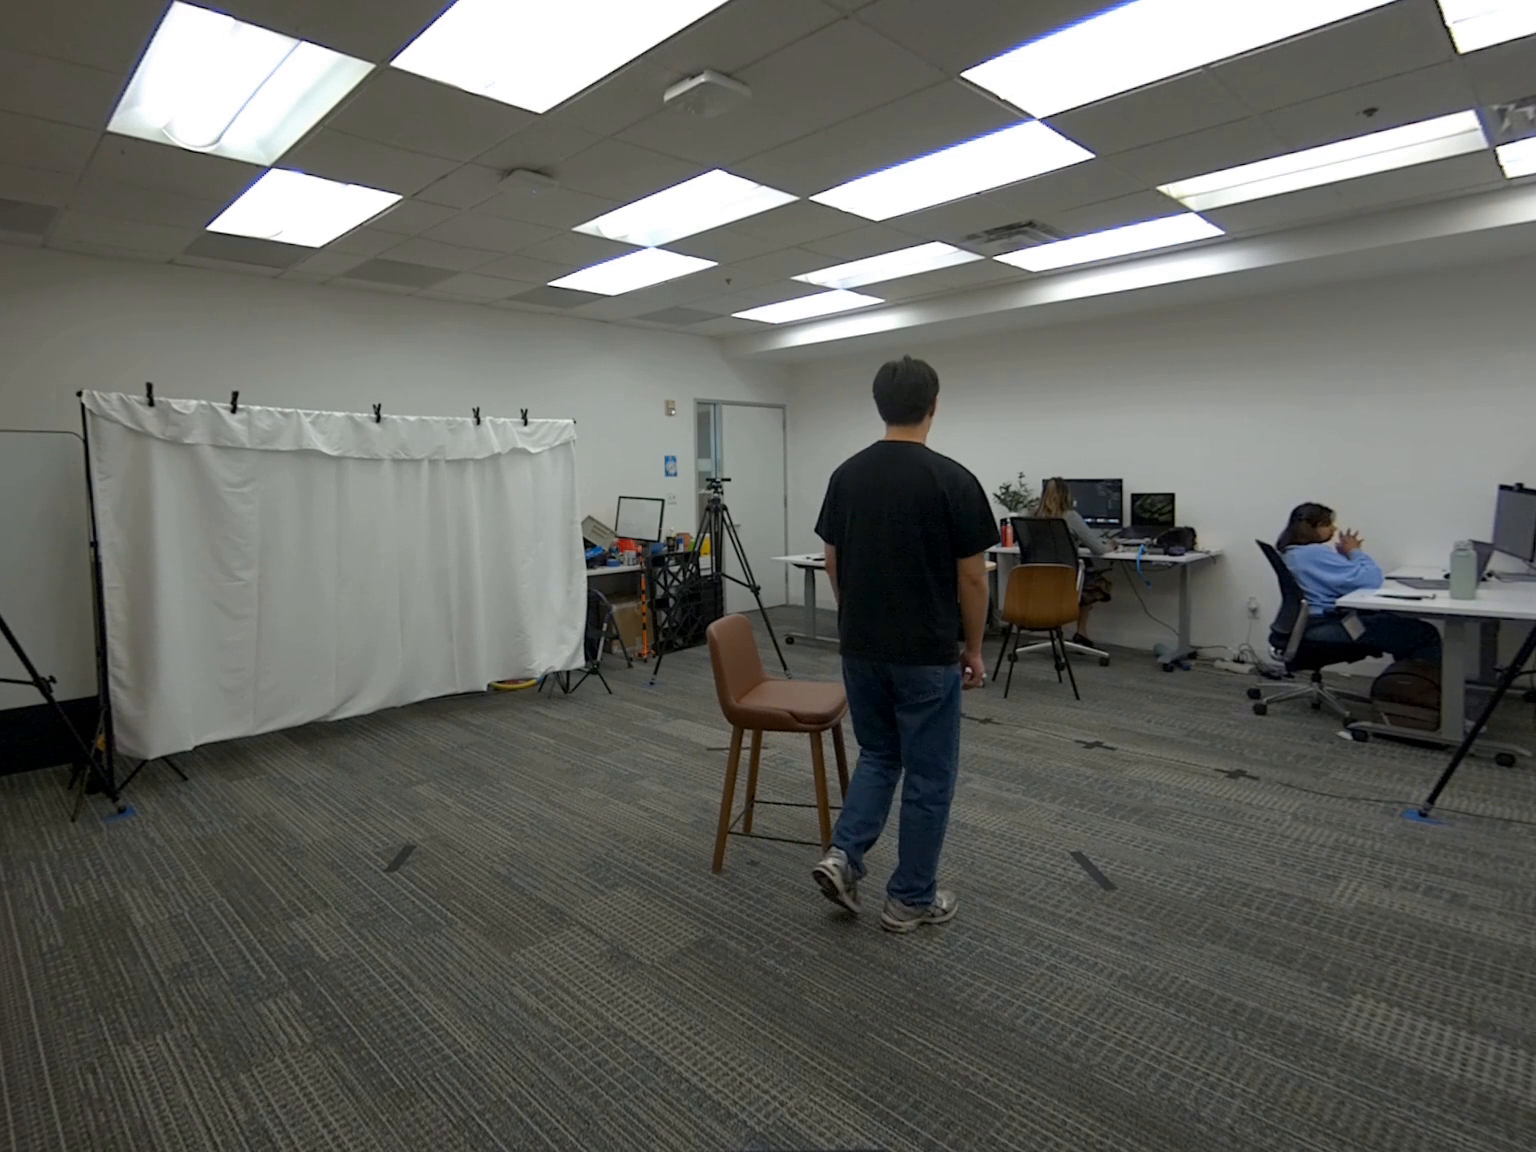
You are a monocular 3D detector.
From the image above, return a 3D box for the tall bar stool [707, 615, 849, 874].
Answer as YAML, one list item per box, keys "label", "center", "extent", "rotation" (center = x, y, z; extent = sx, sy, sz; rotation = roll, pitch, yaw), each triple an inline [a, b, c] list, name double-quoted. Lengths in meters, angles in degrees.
- label: "tall bar stool"
  center: [0.059, 0.604, 3.117]
  extent: [0.476, 0.888, 0.449]
  rotation: [-1, 3, 20]
